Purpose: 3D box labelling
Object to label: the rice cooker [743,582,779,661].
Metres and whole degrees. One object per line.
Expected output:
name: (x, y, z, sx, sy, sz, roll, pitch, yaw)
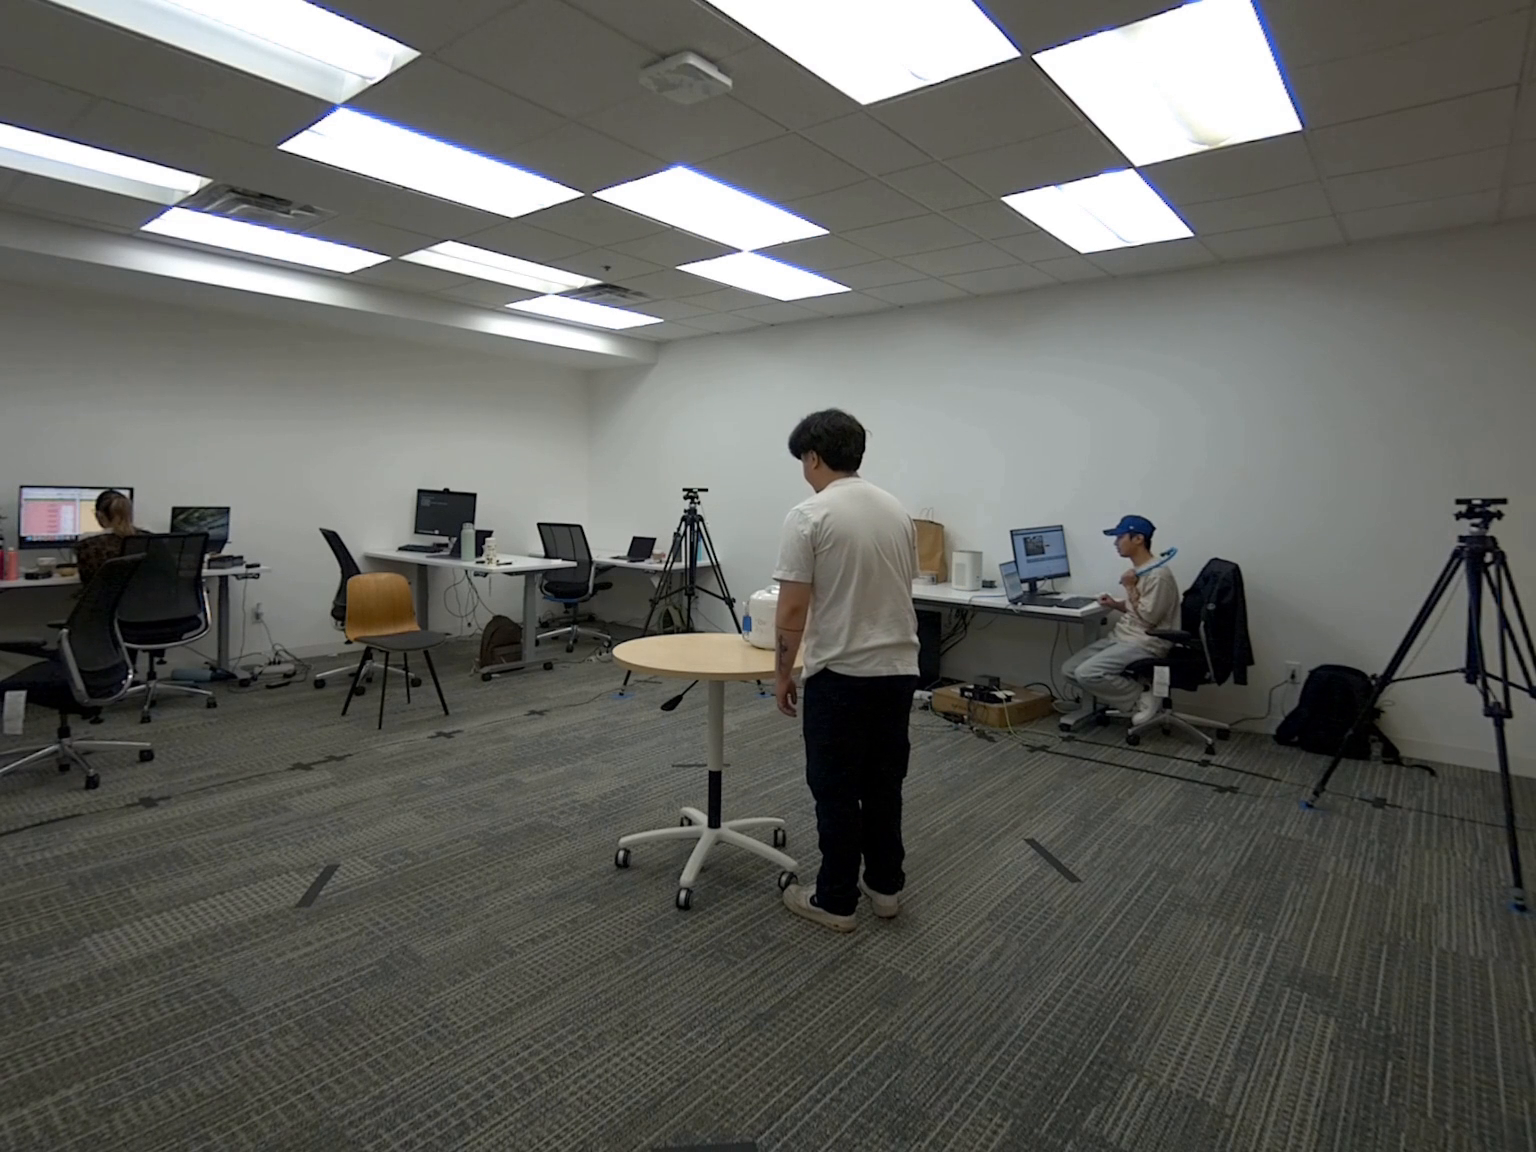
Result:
rice cooker: (0.024, 0.148, 3.228, 0.212, 0.232, 0.227, -2, 6, -29)
